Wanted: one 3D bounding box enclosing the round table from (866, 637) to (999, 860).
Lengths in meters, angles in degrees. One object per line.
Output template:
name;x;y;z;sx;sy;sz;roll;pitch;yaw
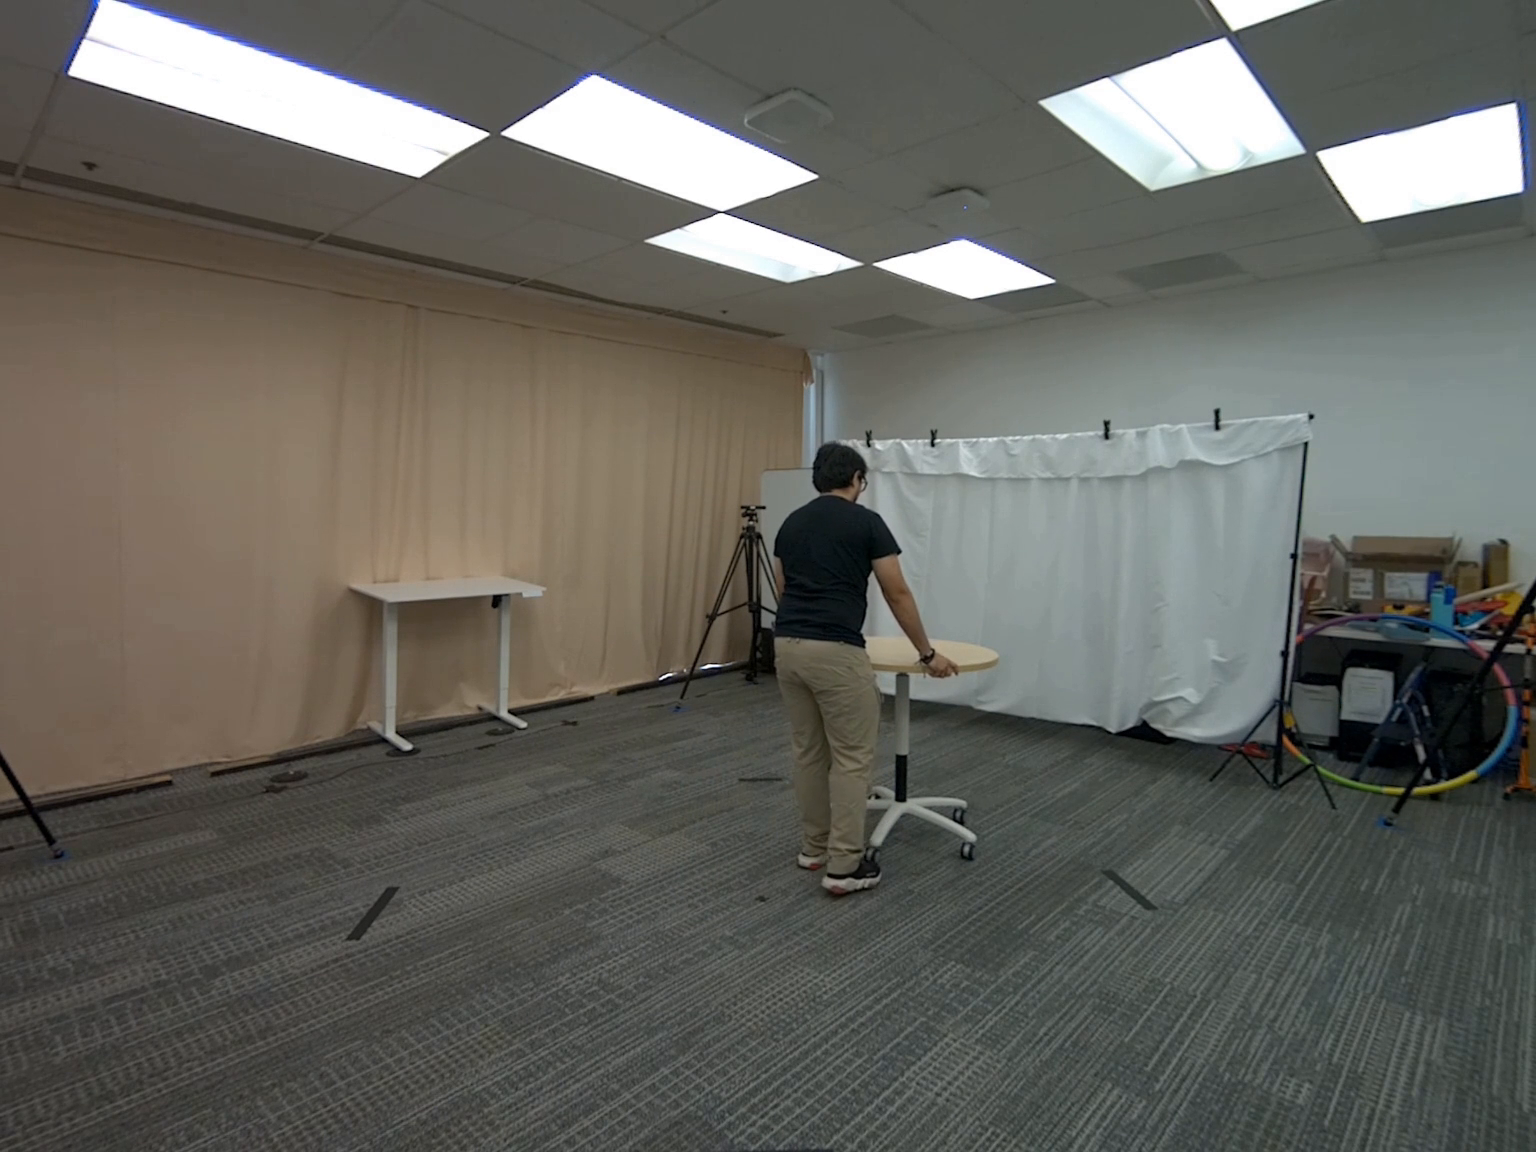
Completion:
round table;0.554;0.695;3.566;0.784;0.785;0.787;0;3;-2
